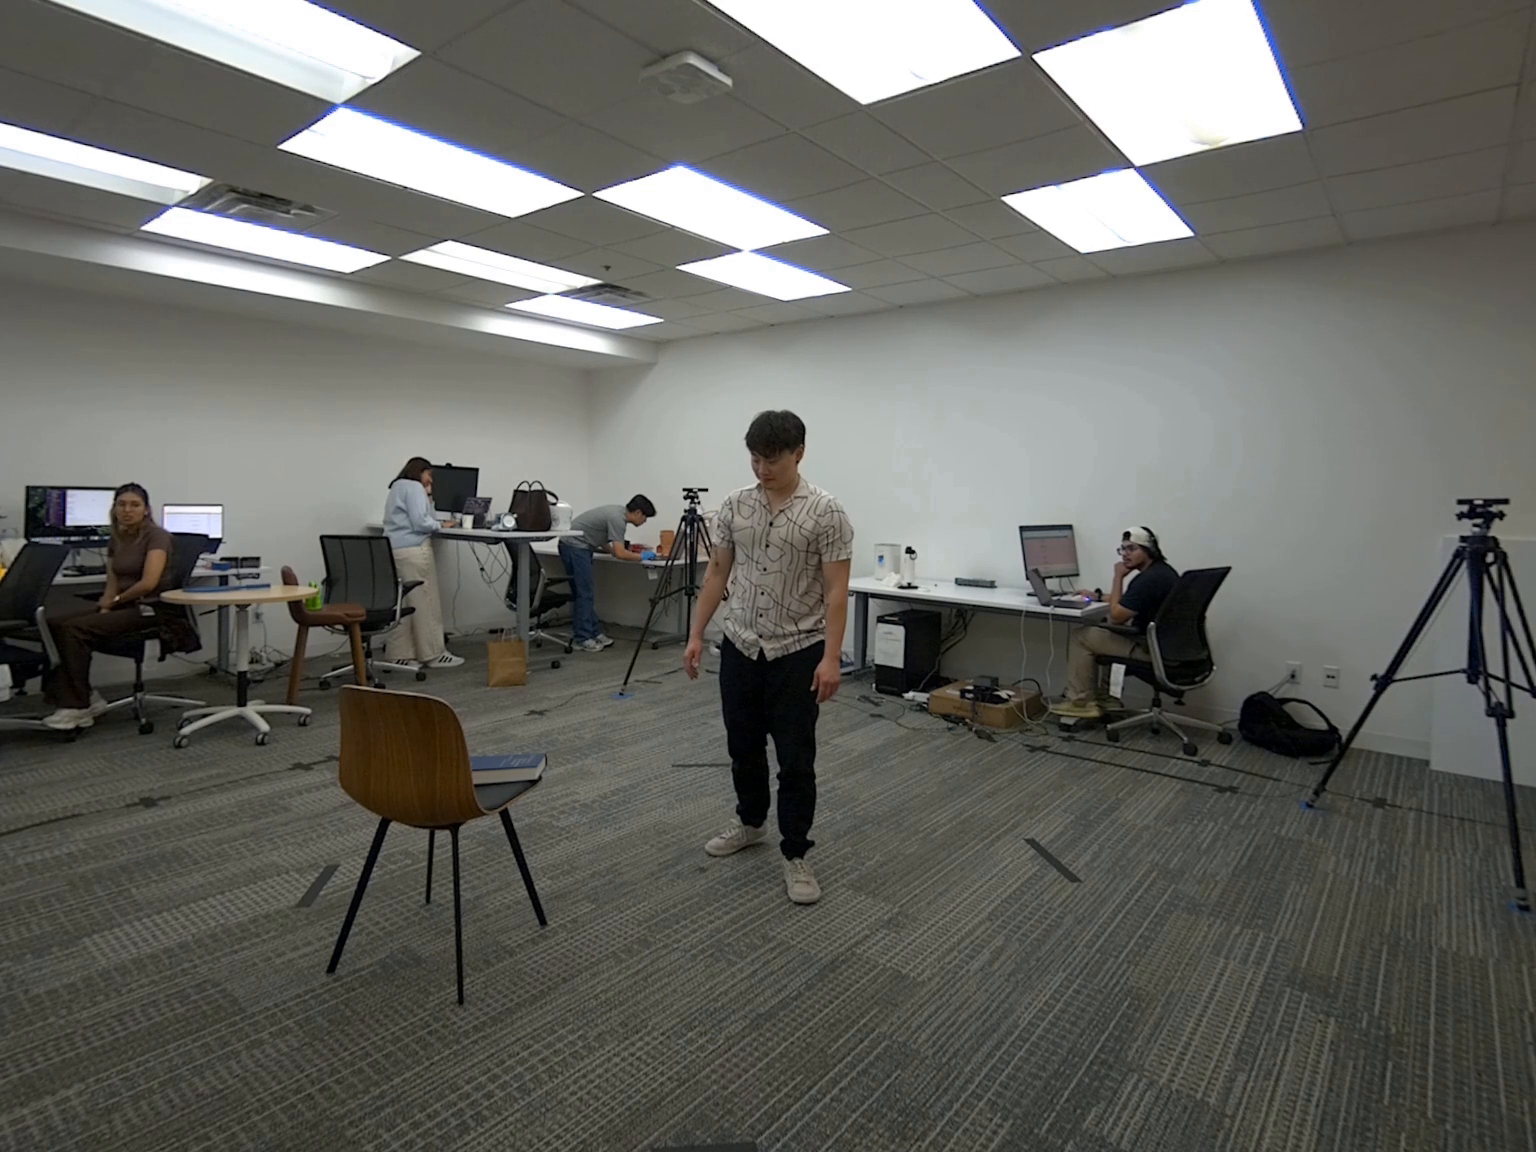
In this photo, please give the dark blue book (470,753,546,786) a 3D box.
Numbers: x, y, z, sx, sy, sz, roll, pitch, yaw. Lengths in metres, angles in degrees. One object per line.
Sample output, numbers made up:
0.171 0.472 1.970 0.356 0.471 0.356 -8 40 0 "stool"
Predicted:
-0.840 0.597 2.642 0.245 0.045 0.164 -2 3 -2 "dark blue book"
